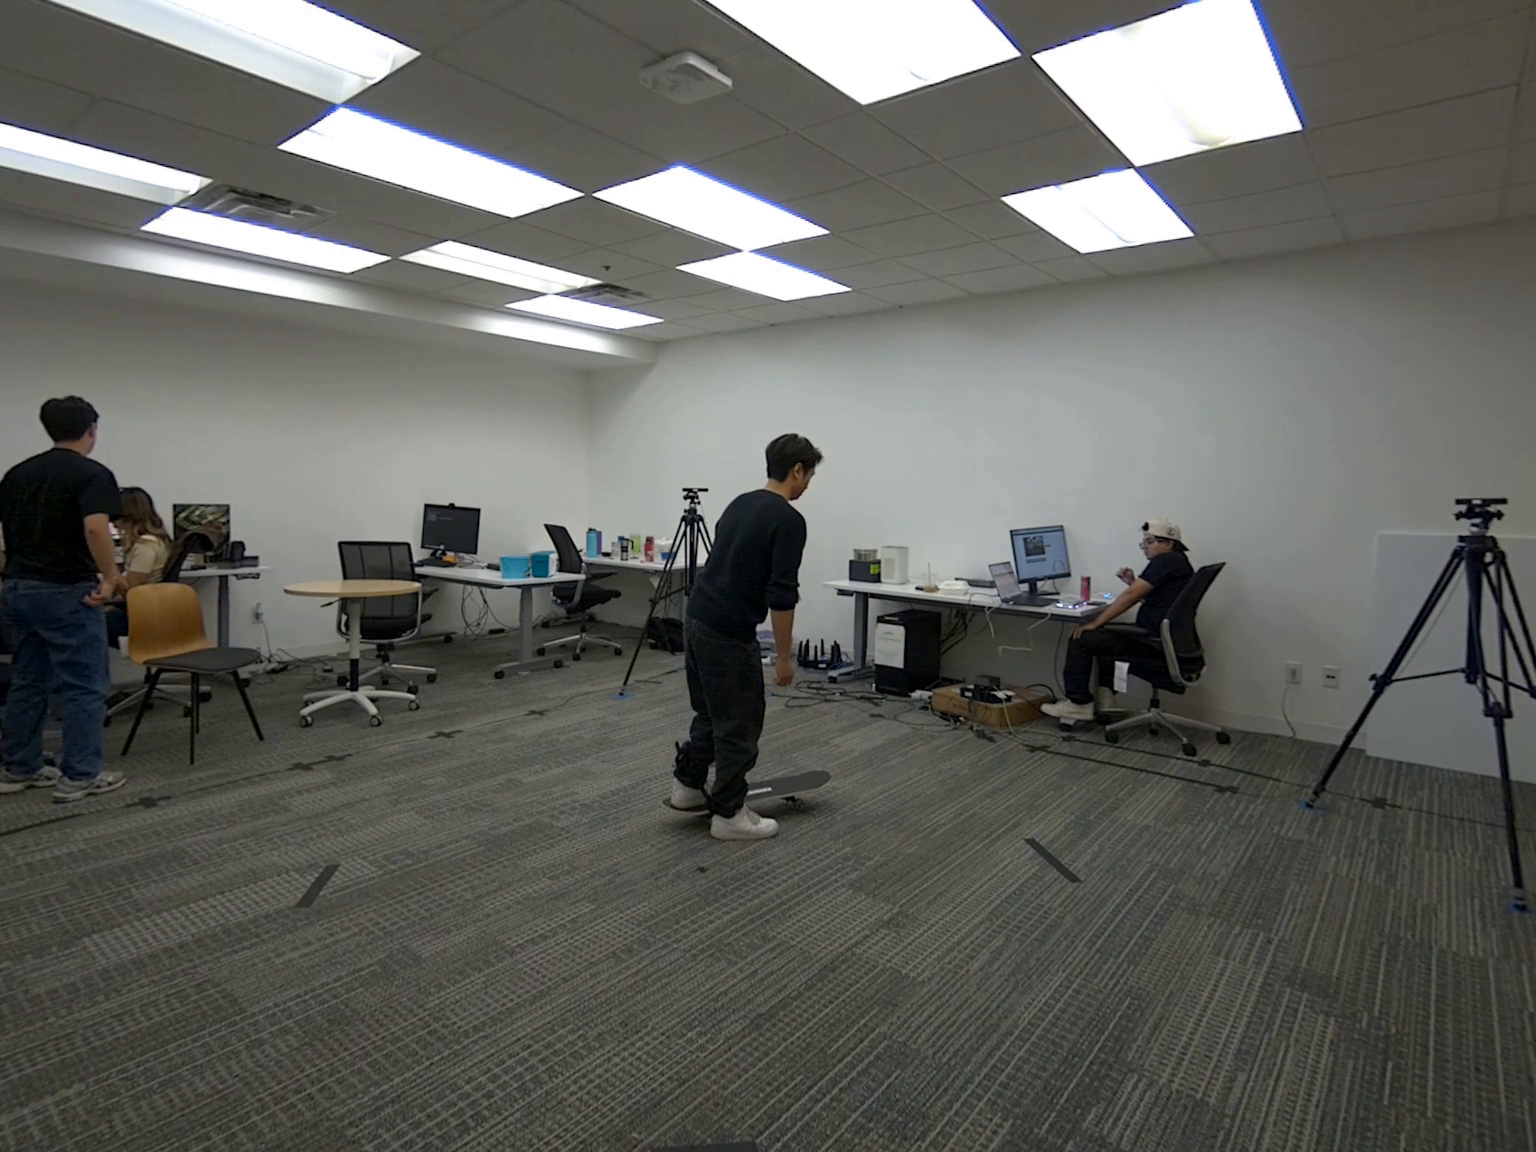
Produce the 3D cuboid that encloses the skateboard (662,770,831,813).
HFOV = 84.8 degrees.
[{"bbox_3d":[-0.086,0.958,3.640,0.769,0.110,0.198,-5,7,-22],"label":"skateboard"}]
